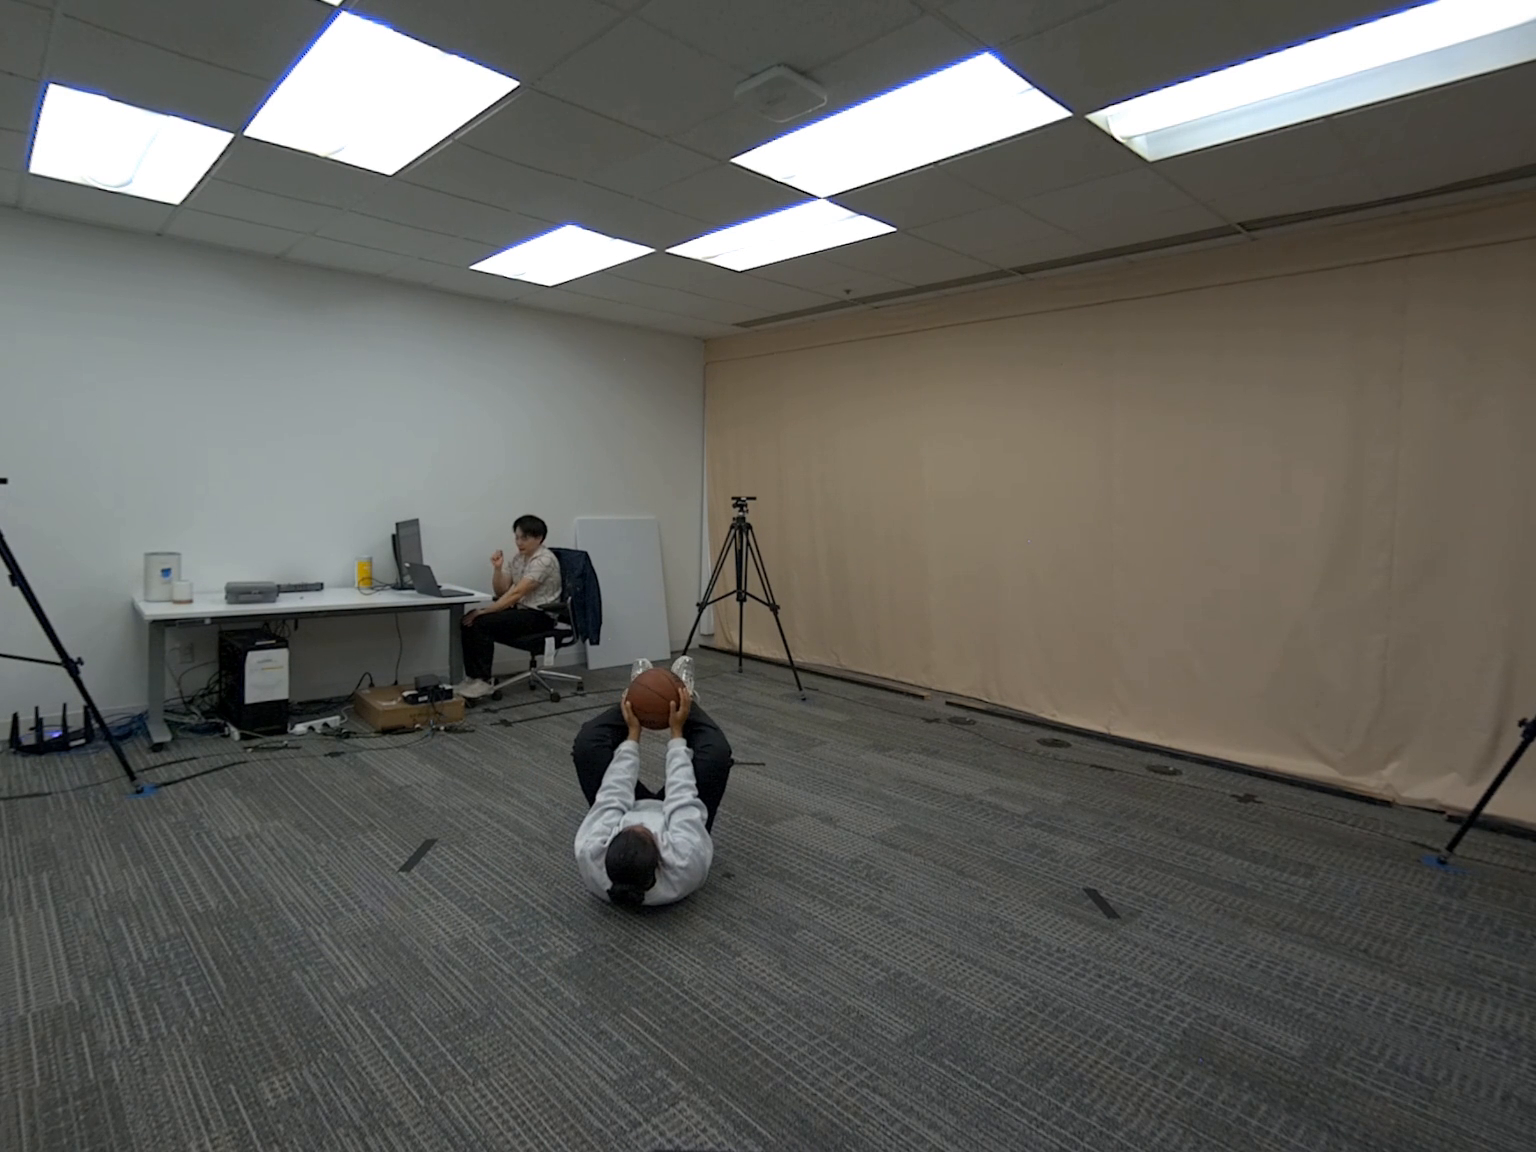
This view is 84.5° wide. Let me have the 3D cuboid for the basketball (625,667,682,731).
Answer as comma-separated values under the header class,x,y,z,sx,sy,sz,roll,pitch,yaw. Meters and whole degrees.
class,x,y,z,sx,sy,sz,roll,pitch,yaw
basketball,-0.440,0.476,3.268,0.236,0.235,0.237,1,4,-1
